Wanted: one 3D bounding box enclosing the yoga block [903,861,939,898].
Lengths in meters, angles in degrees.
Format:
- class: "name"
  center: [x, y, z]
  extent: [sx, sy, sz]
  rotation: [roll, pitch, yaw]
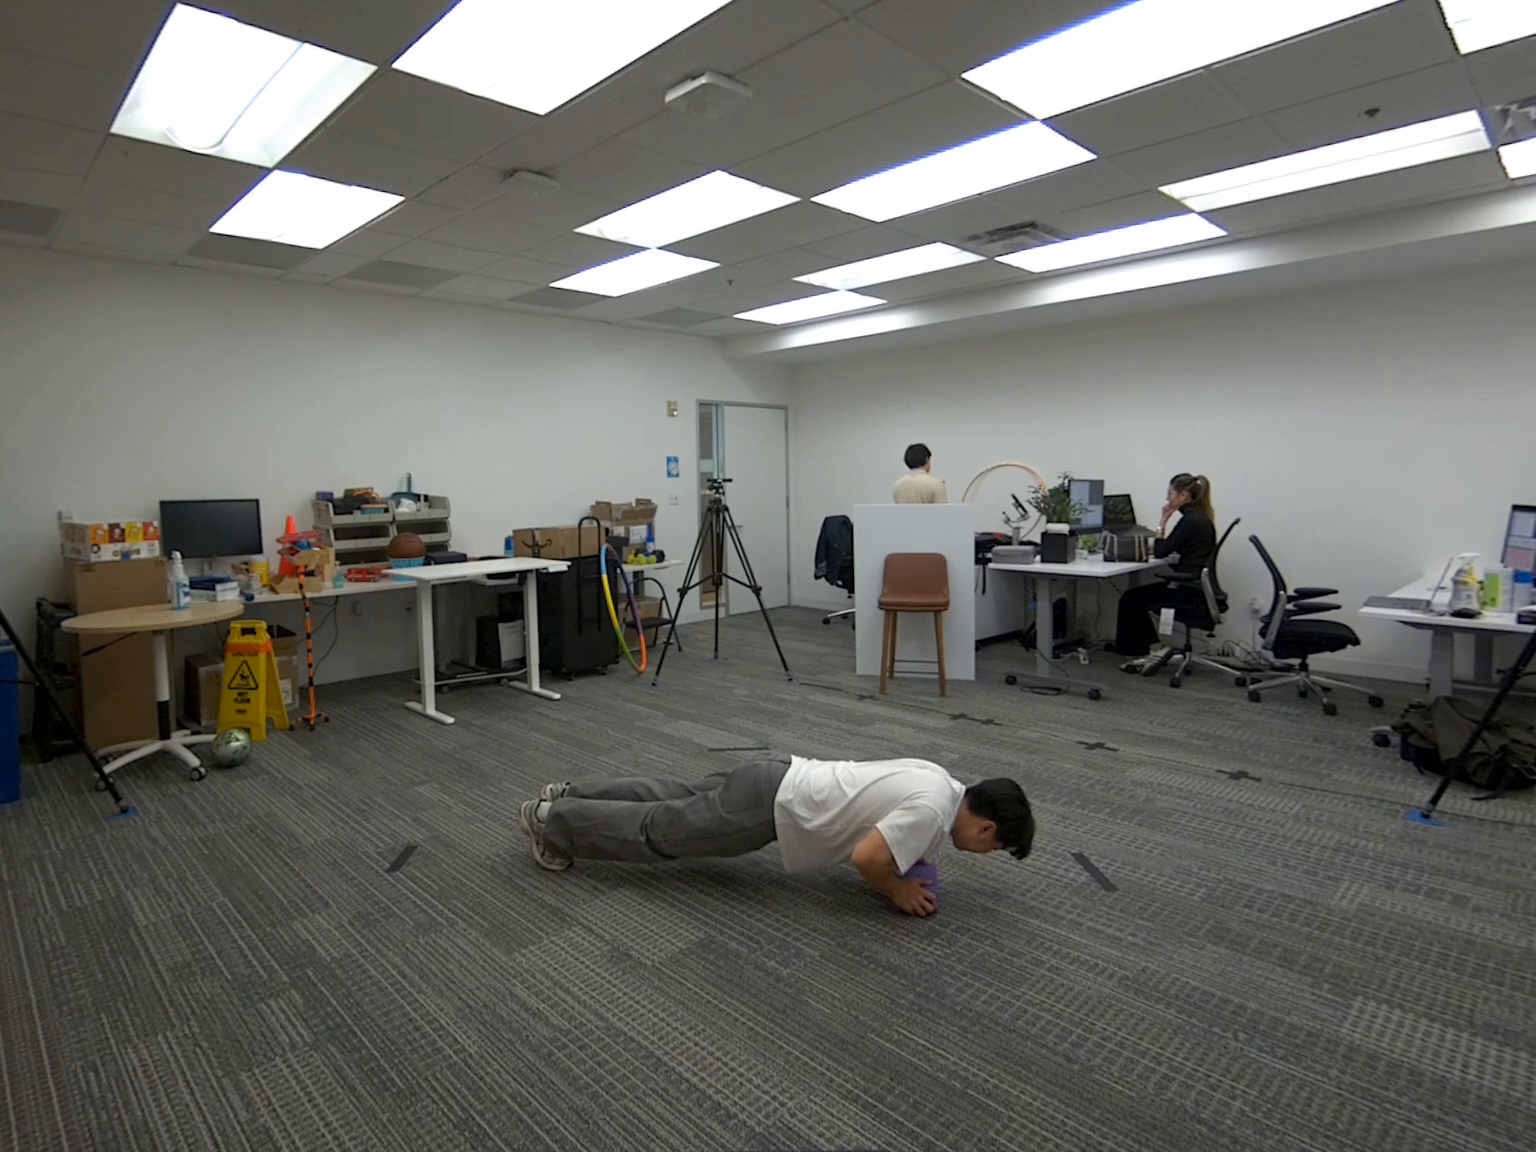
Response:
- class: "yoga block"
  center: [0.473, 1.027, 2.864]
  extent: [0.151, 0.076, 0.226]
  rotation: [-2, 4, 15]
